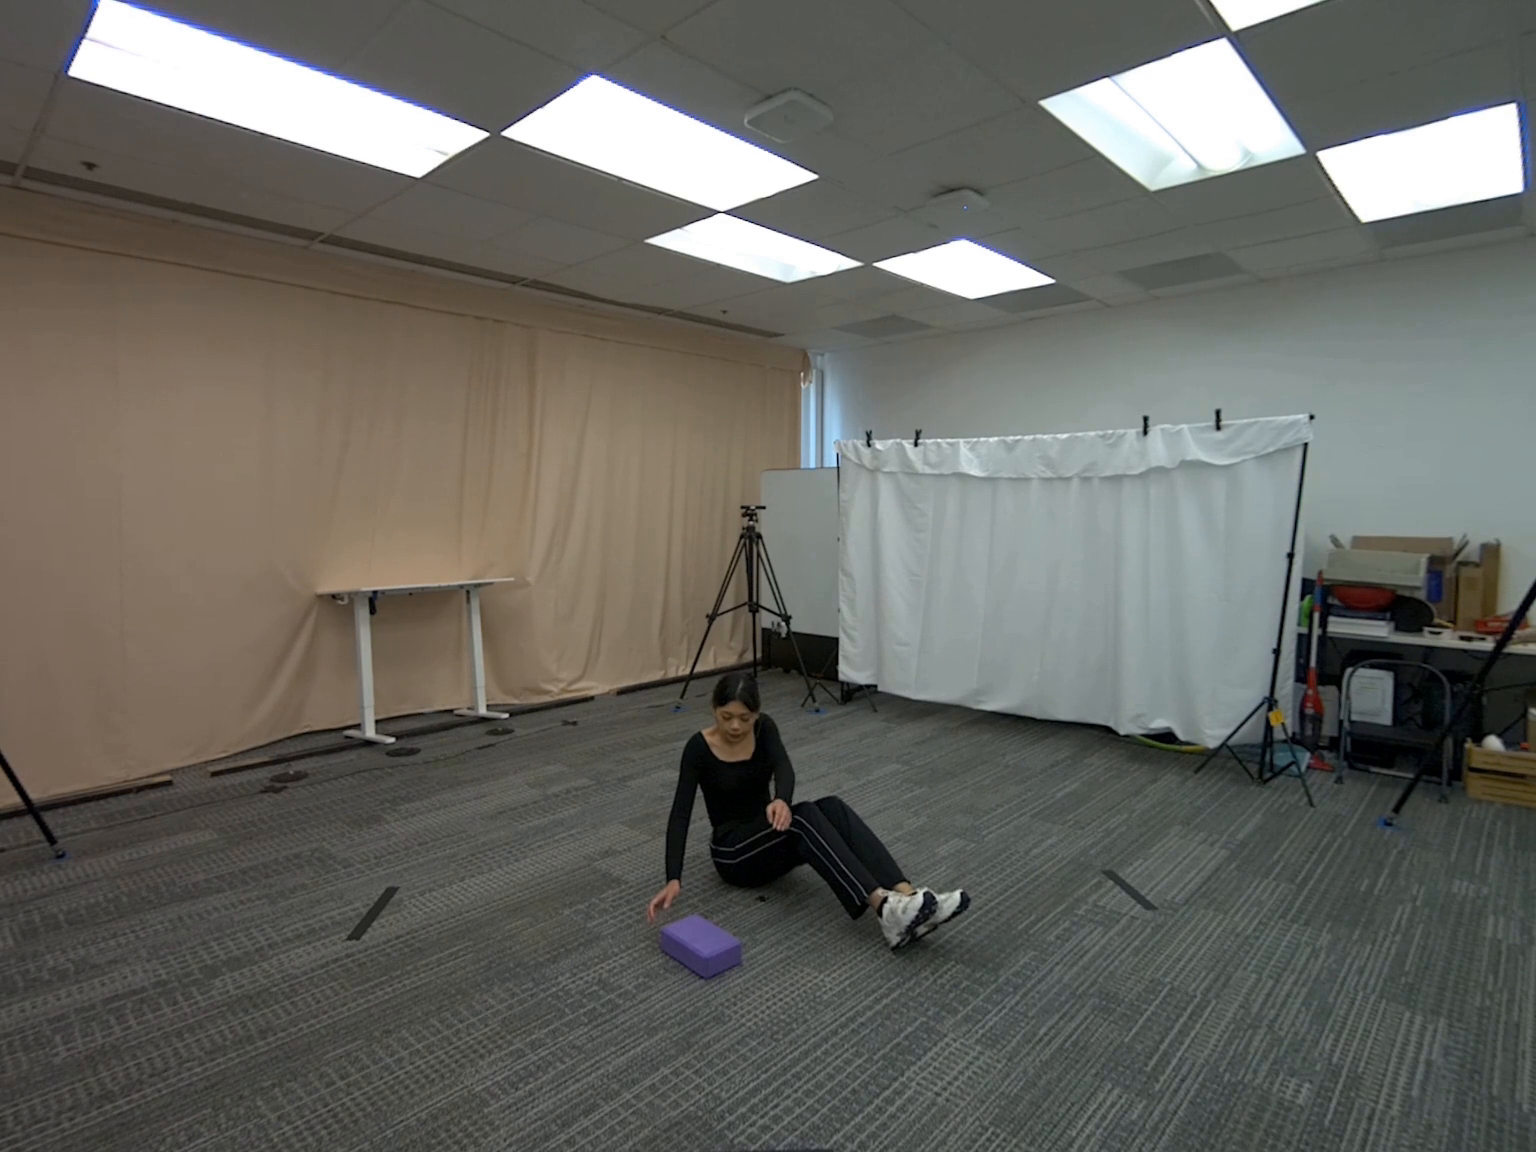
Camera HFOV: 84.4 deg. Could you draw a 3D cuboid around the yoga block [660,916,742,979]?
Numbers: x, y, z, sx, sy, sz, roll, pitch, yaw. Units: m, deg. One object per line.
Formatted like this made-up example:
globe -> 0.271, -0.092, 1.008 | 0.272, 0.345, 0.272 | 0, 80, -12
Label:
yoga block -> -0.207, 1.127, 2.599 | 0.144, 0.076, 0.237 | -5, 8, -42
